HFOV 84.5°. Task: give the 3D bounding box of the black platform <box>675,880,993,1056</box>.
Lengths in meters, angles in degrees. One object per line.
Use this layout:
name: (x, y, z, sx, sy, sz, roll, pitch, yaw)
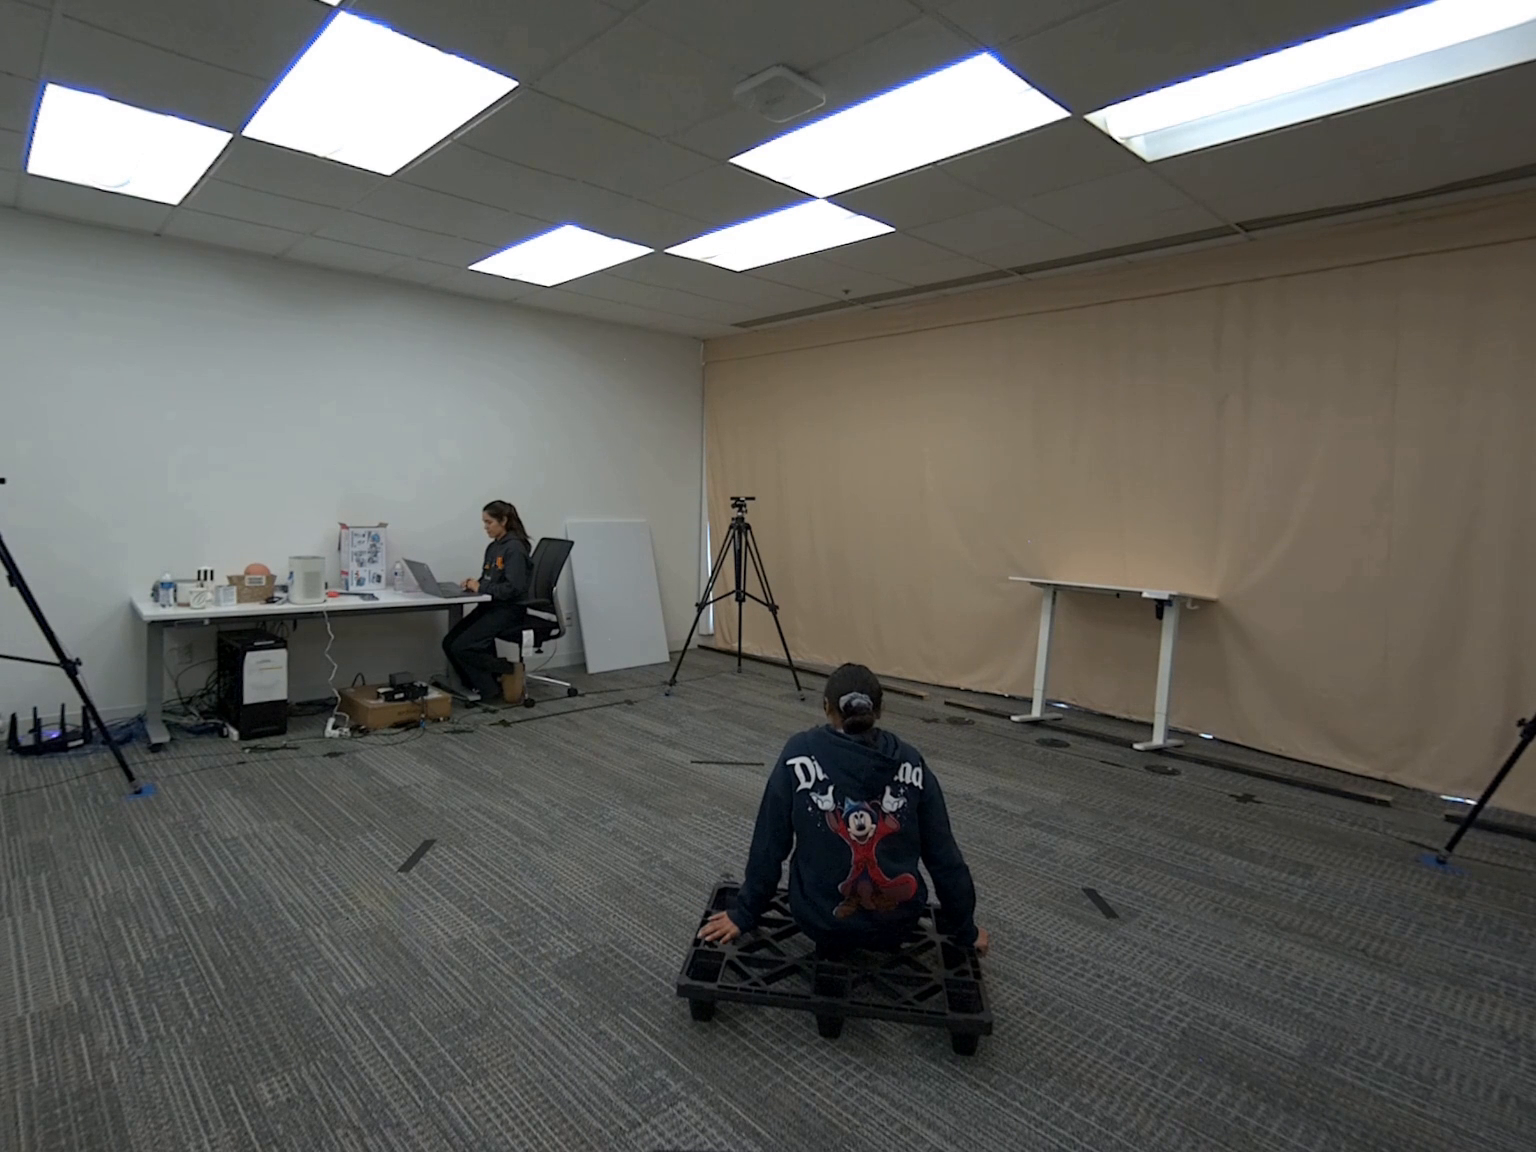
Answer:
black platform: (0.188, 1.111, 2.405, 0.811, 0.143, 0.603, 2, 6, 7)
